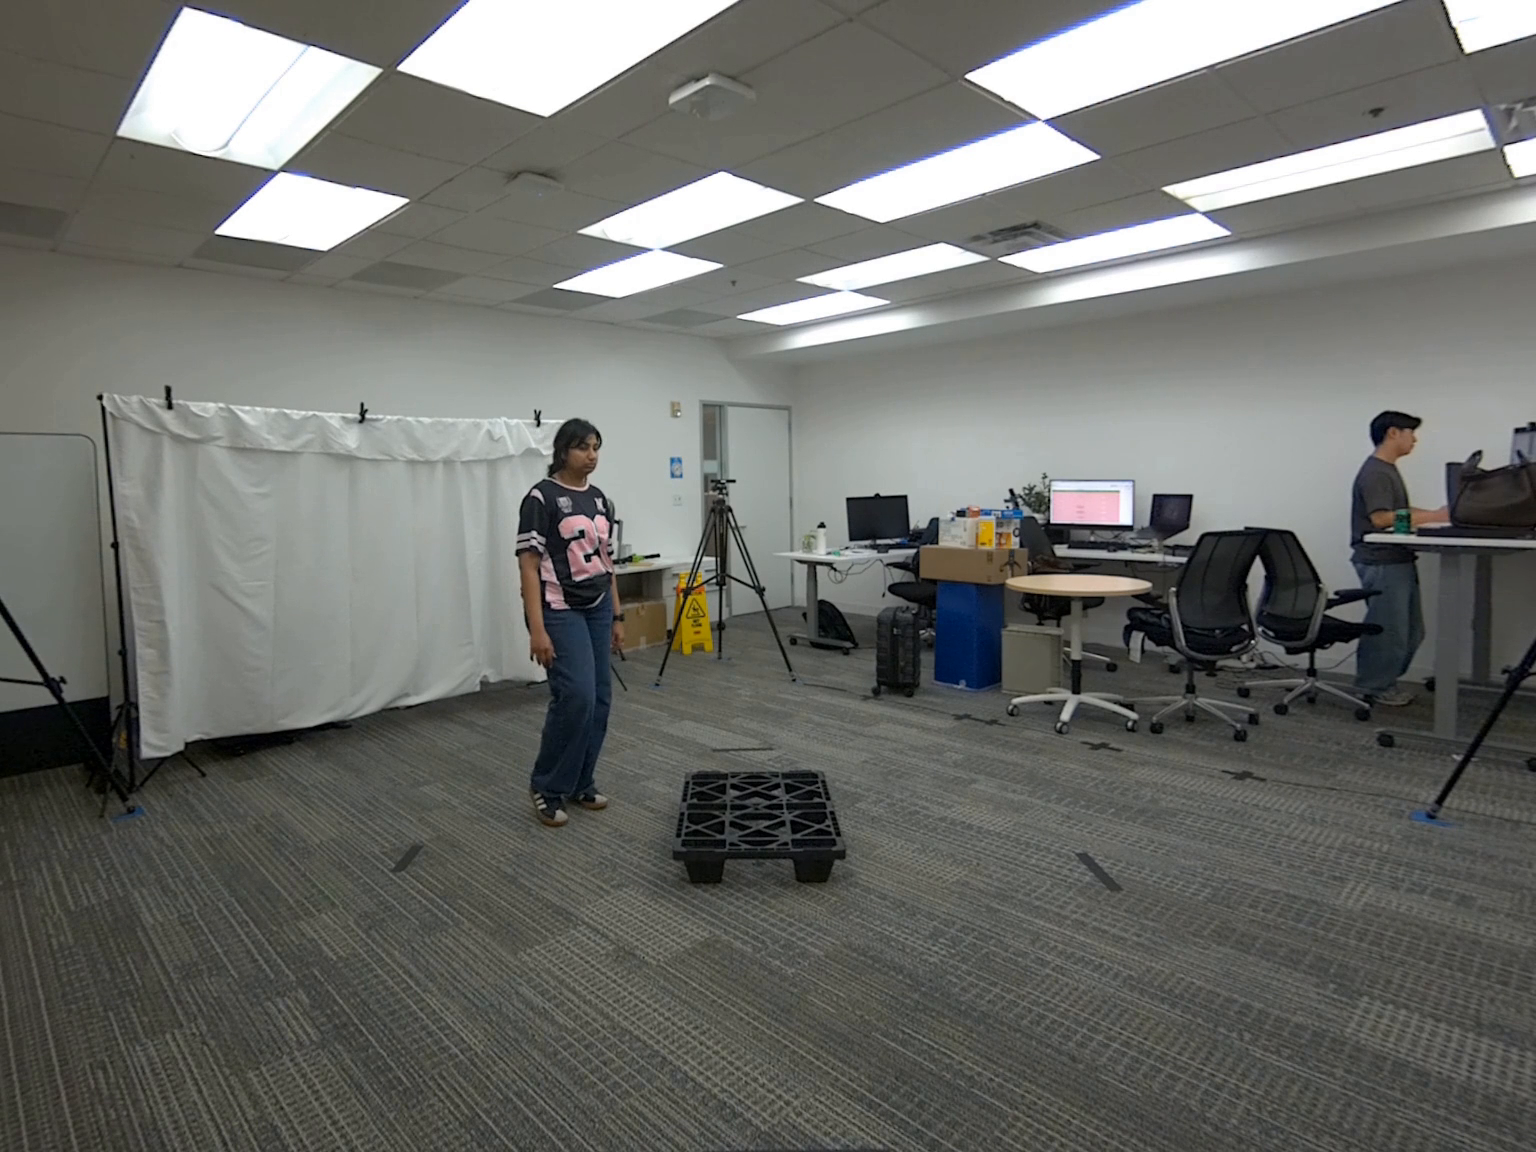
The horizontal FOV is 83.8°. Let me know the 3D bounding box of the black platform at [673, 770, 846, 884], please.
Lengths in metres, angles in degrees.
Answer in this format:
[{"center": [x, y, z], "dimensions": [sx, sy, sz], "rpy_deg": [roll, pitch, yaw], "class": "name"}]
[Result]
[{"center": [-0.038, 0.957, 3.315], "dimensions": [0.605, 0.143, 0.809], "rpy_deg": [0, 6, -1], "class": "black platform"}]
